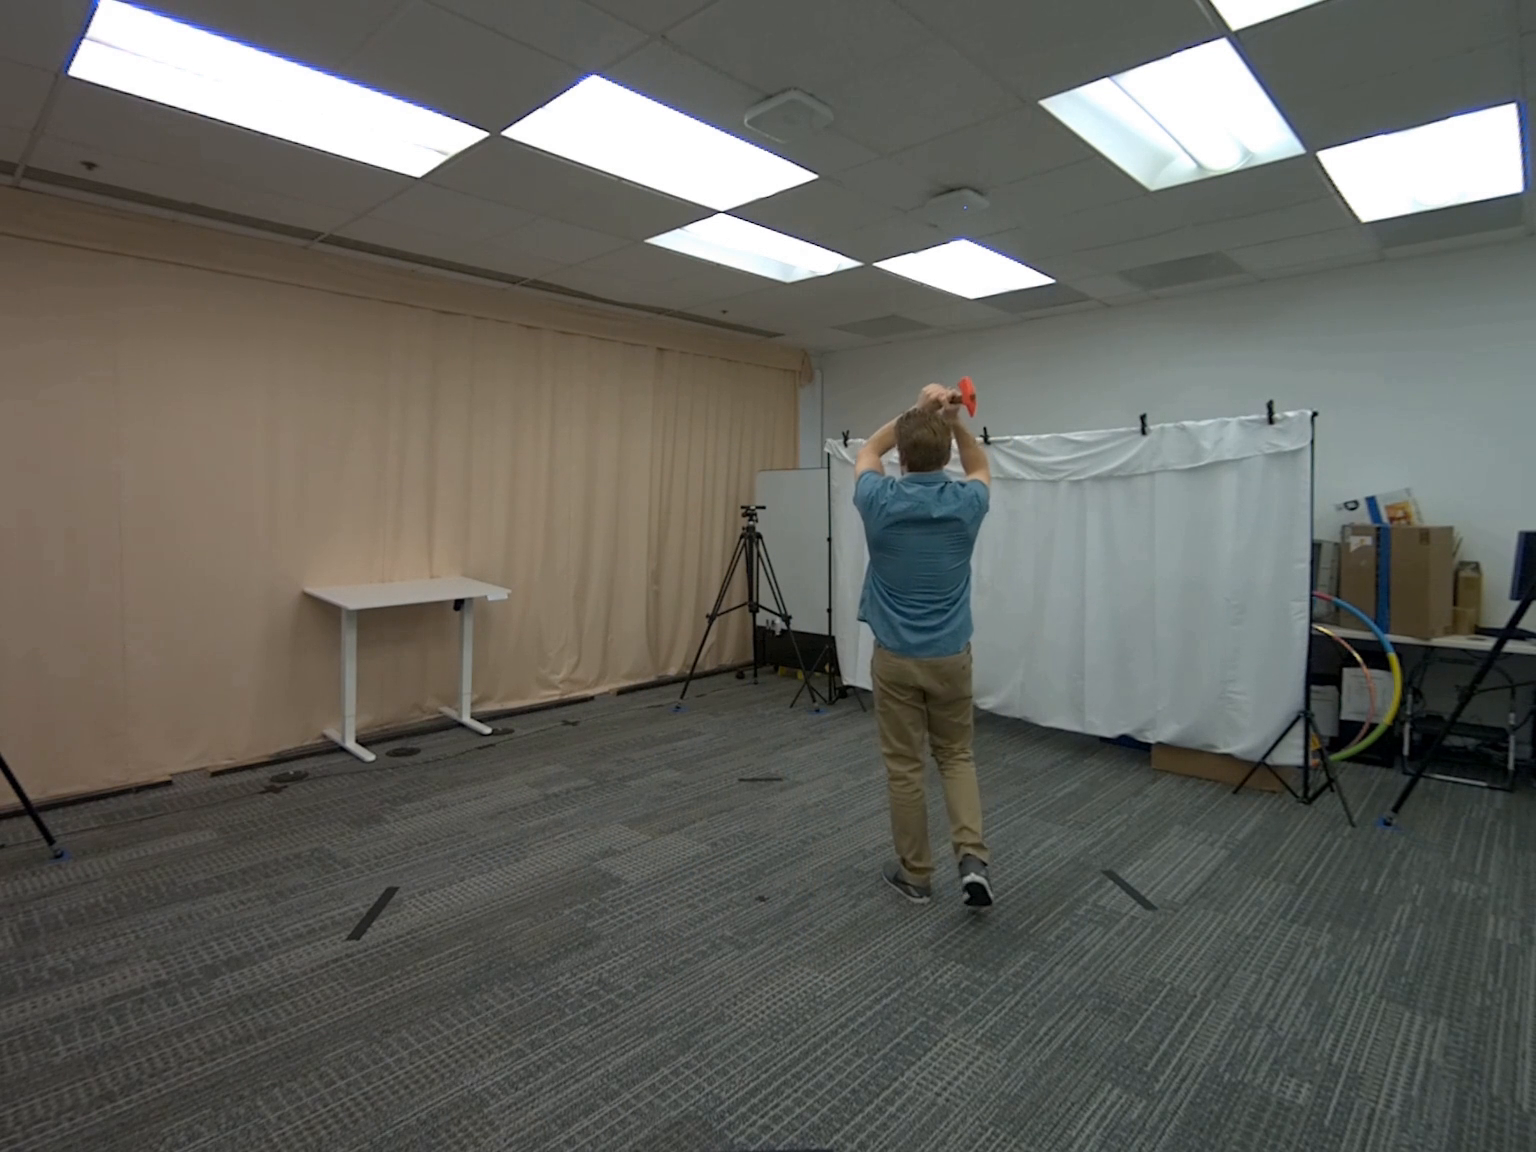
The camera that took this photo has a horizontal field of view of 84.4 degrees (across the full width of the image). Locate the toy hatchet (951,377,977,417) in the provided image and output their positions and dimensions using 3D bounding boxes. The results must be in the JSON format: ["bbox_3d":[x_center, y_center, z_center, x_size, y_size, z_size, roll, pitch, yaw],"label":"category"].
[{"bbox_3d":[0.640,-0.633,2.883,0.029,0.129,0.277,-9,28,-10],"label":"toy hatchet"}]
